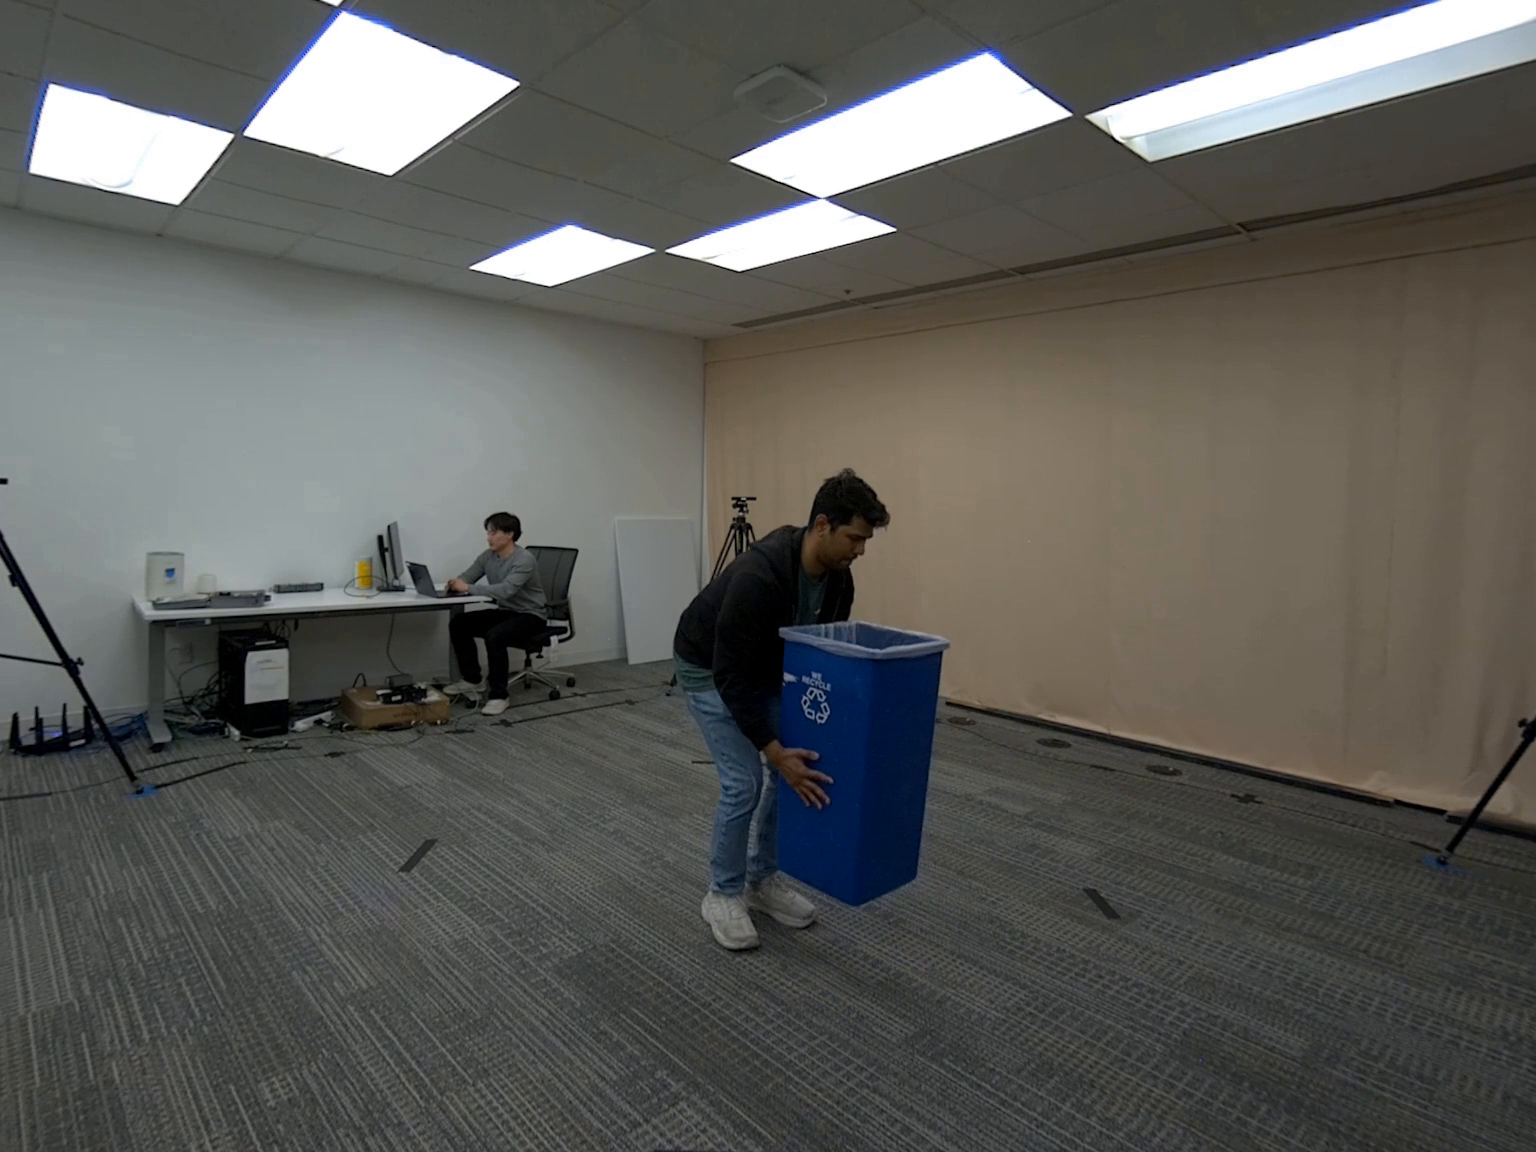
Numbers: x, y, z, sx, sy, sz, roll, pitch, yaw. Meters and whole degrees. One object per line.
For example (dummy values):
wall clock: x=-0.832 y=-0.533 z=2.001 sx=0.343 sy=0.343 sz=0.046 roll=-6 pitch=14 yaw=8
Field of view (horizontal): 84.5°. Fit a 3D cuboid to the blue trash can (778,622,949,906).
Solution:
blue trash can: x=0.261 y=0.526 z=2.441 sx=0.384 sy=0.711 sz=0.369 roll=7 pitch=5 yaw=44
